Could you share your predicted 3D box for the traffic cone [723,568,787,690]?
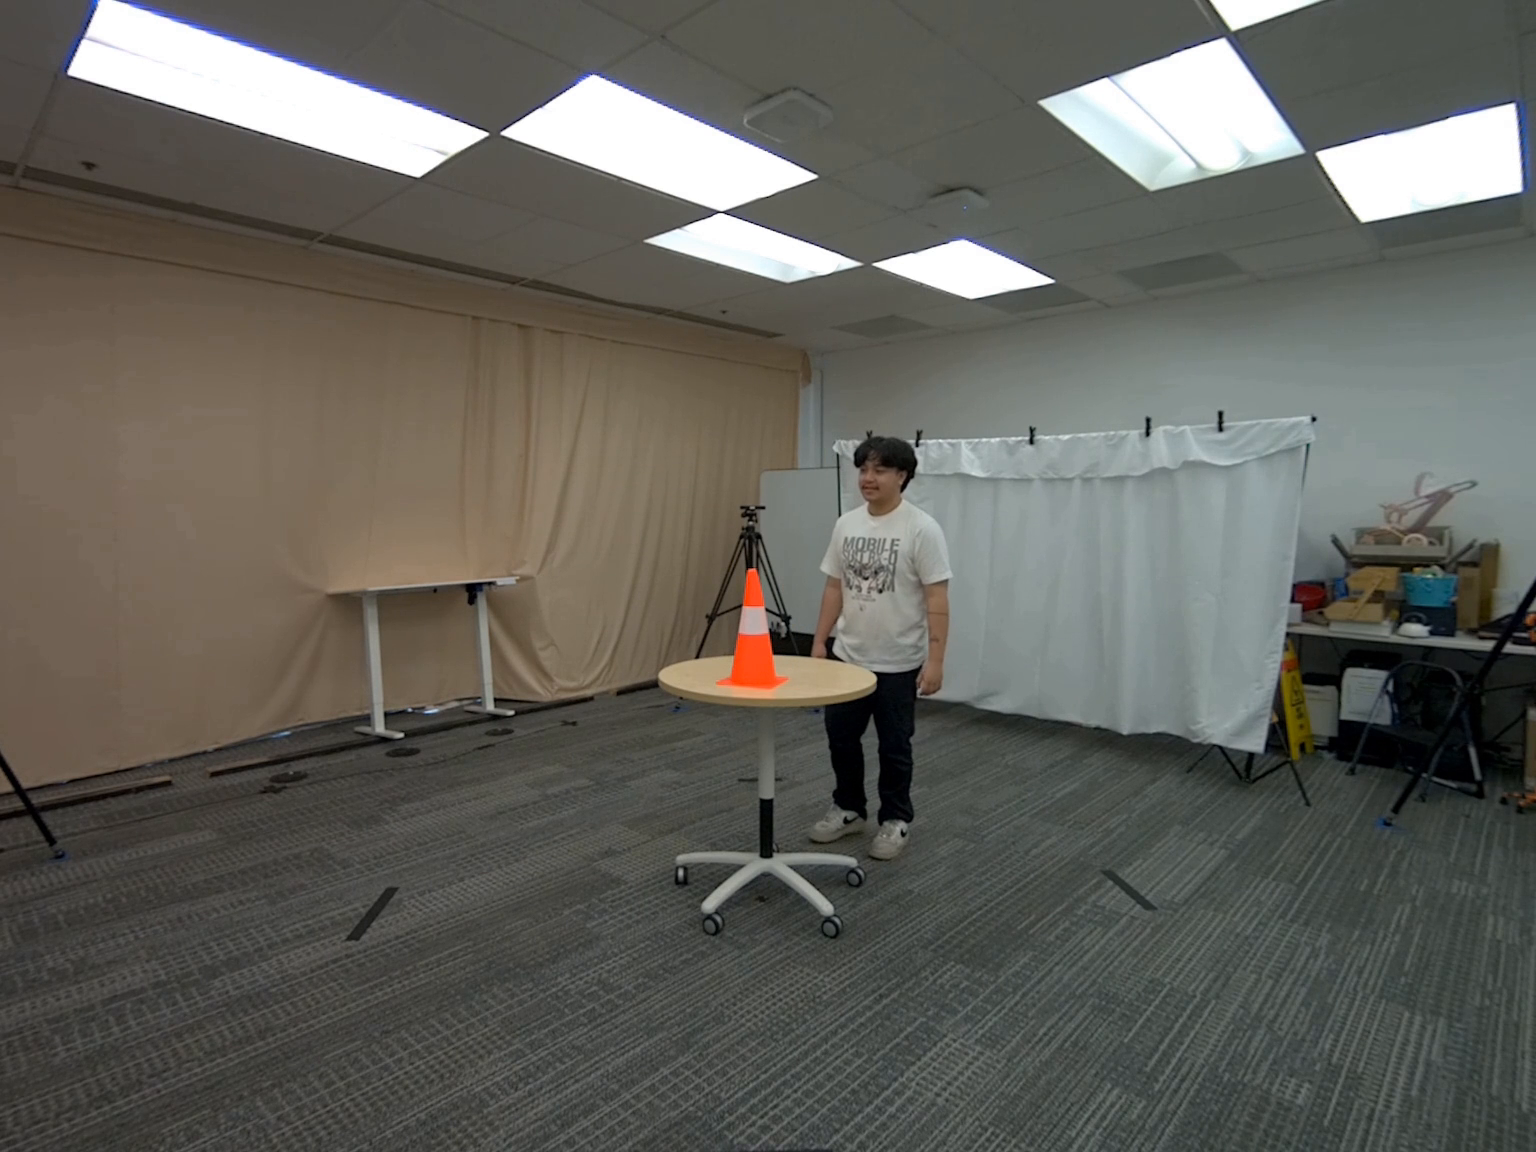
[{"bbox_3d":[-0.045,0.172,2.847,0.210,0.383,0.199,0,2,22],"label":"traffic cone"}]
